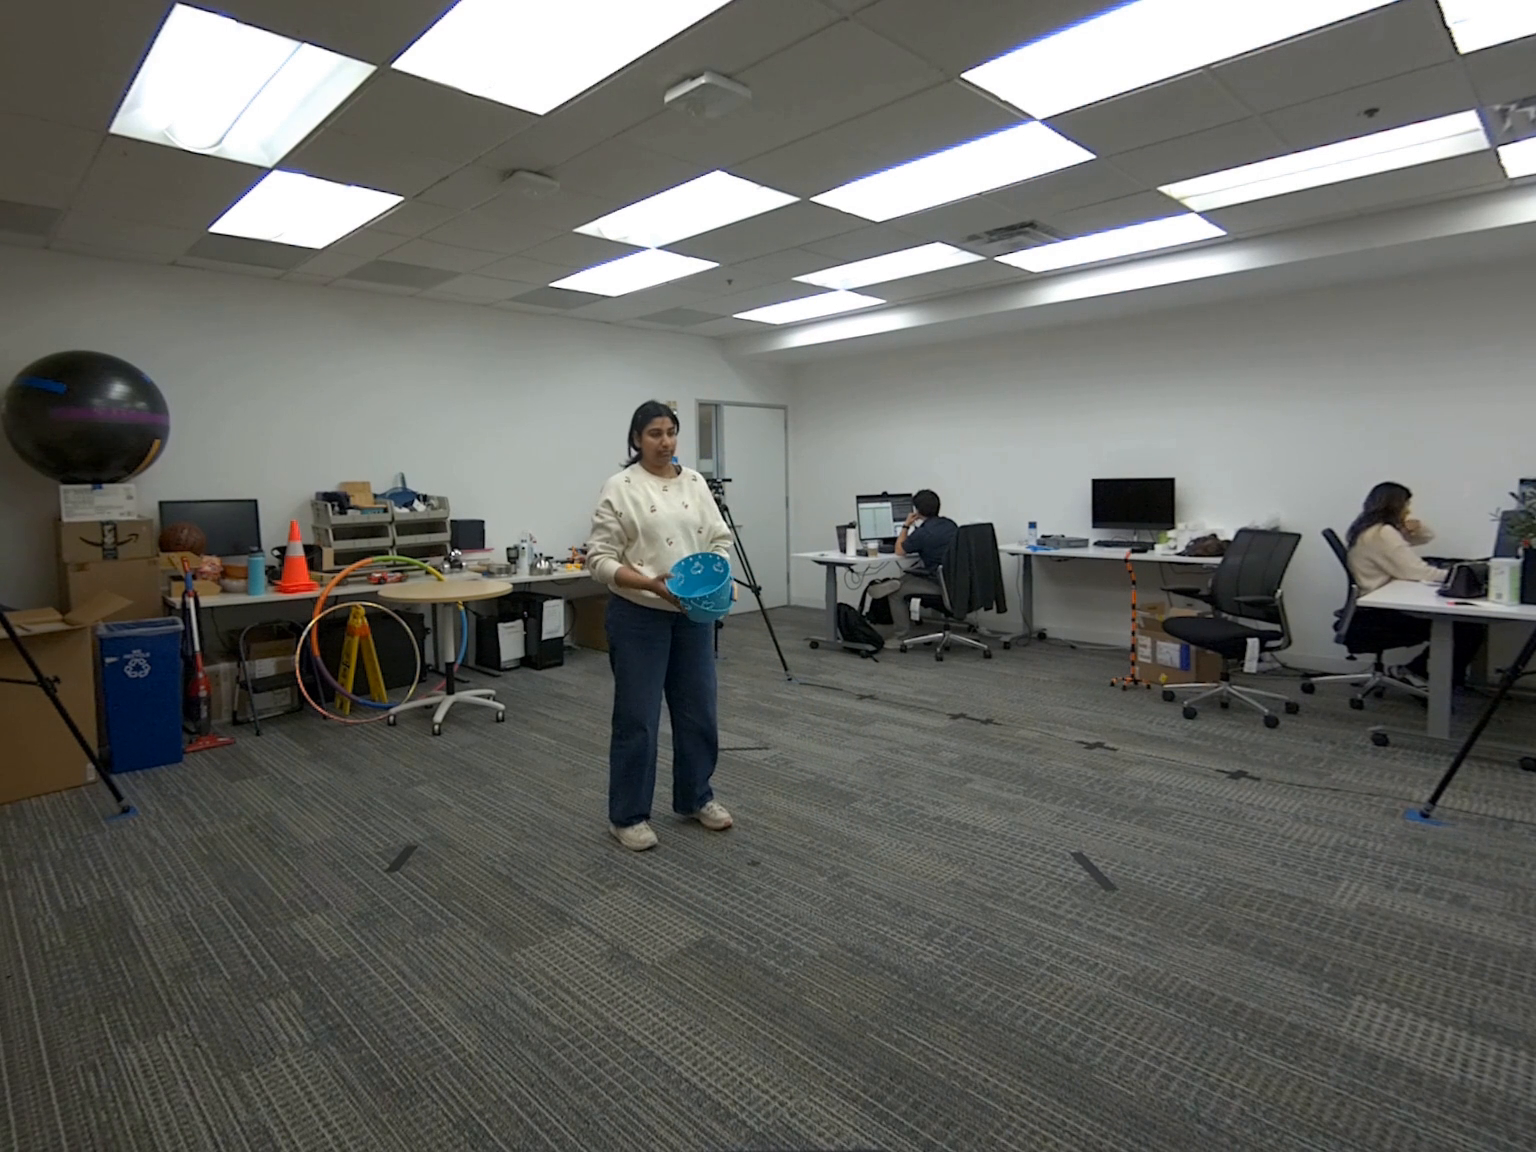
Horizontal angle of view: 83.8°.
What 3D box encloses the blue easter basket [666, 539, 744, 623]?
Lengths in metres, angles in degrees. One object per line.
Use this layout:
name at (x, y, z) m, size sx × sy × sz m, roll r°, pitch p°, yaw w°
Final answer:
blue easter basket at (-0.229, 0.024, 3.039) m, size 0.245 × 0.150 × 0.250 m, roll -13°, pitch 42°, yaw 10°
